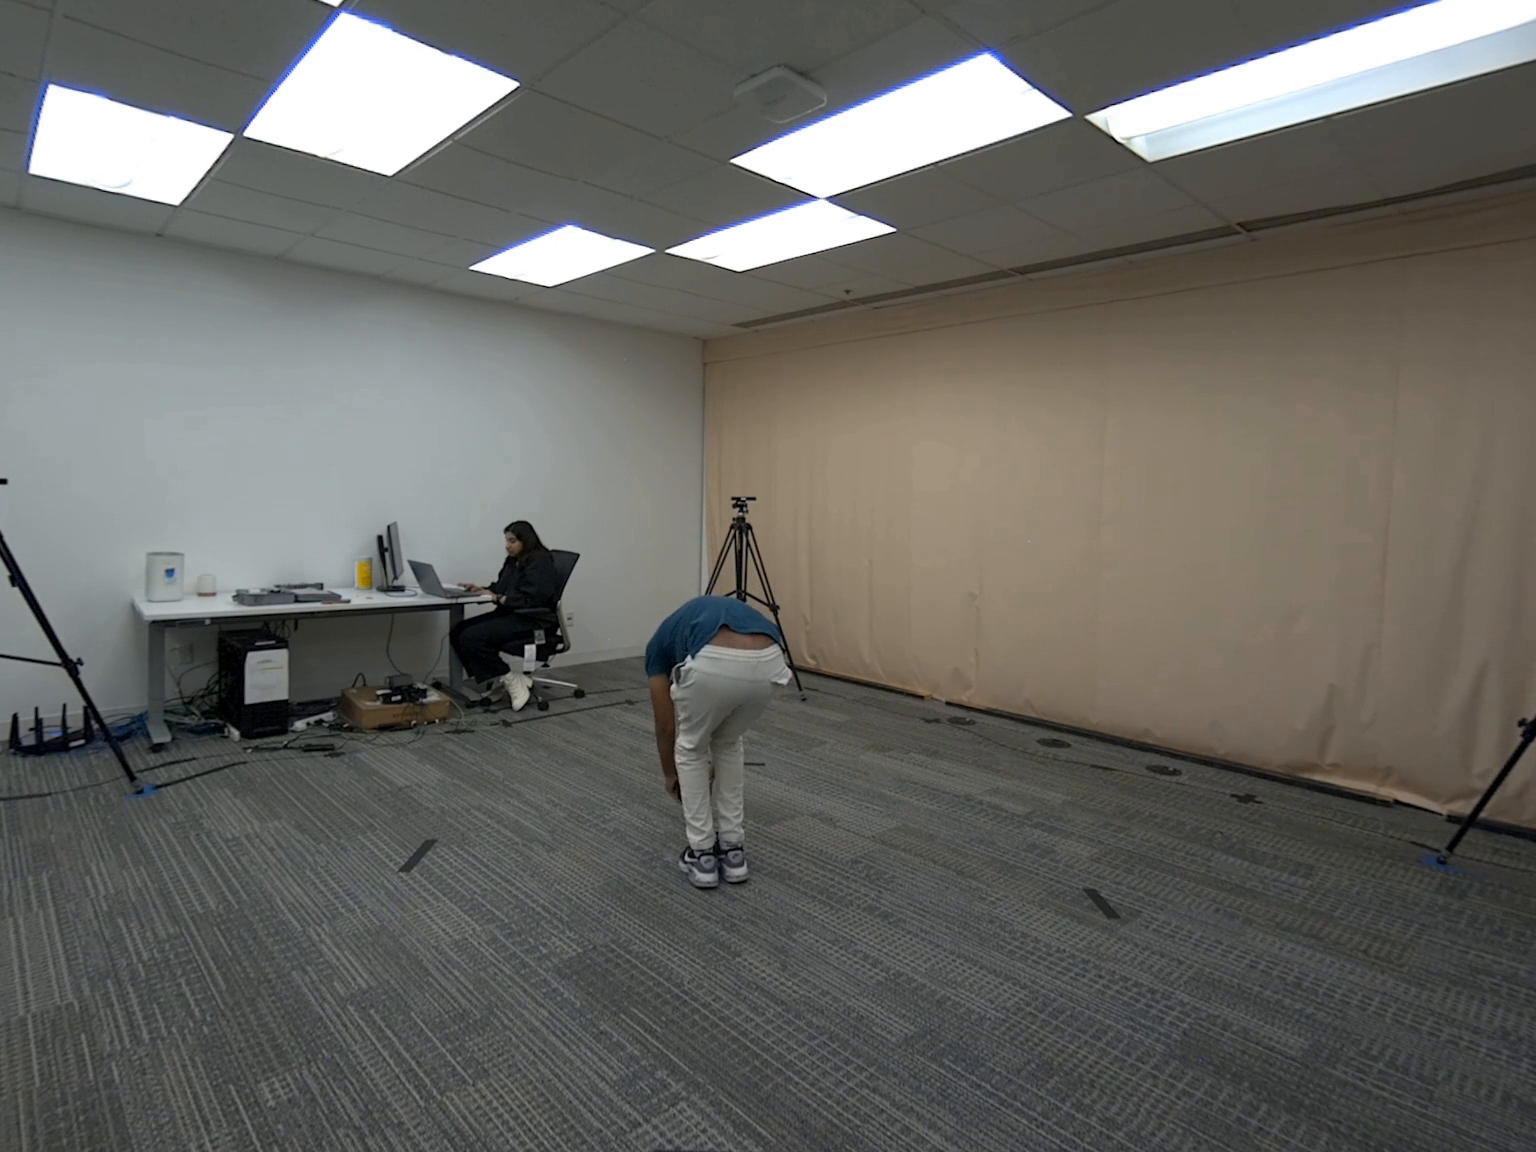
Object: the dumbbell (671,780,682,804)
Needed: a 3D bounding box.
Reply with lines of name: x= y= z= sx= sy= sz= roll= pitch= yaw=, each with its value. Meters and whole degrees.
dumbbell: x=-0.339 y=0.923 z=3.529 sx=0.124 sy=0.109 sz=0.290 roll=38 pitch=-16 yaw=8
